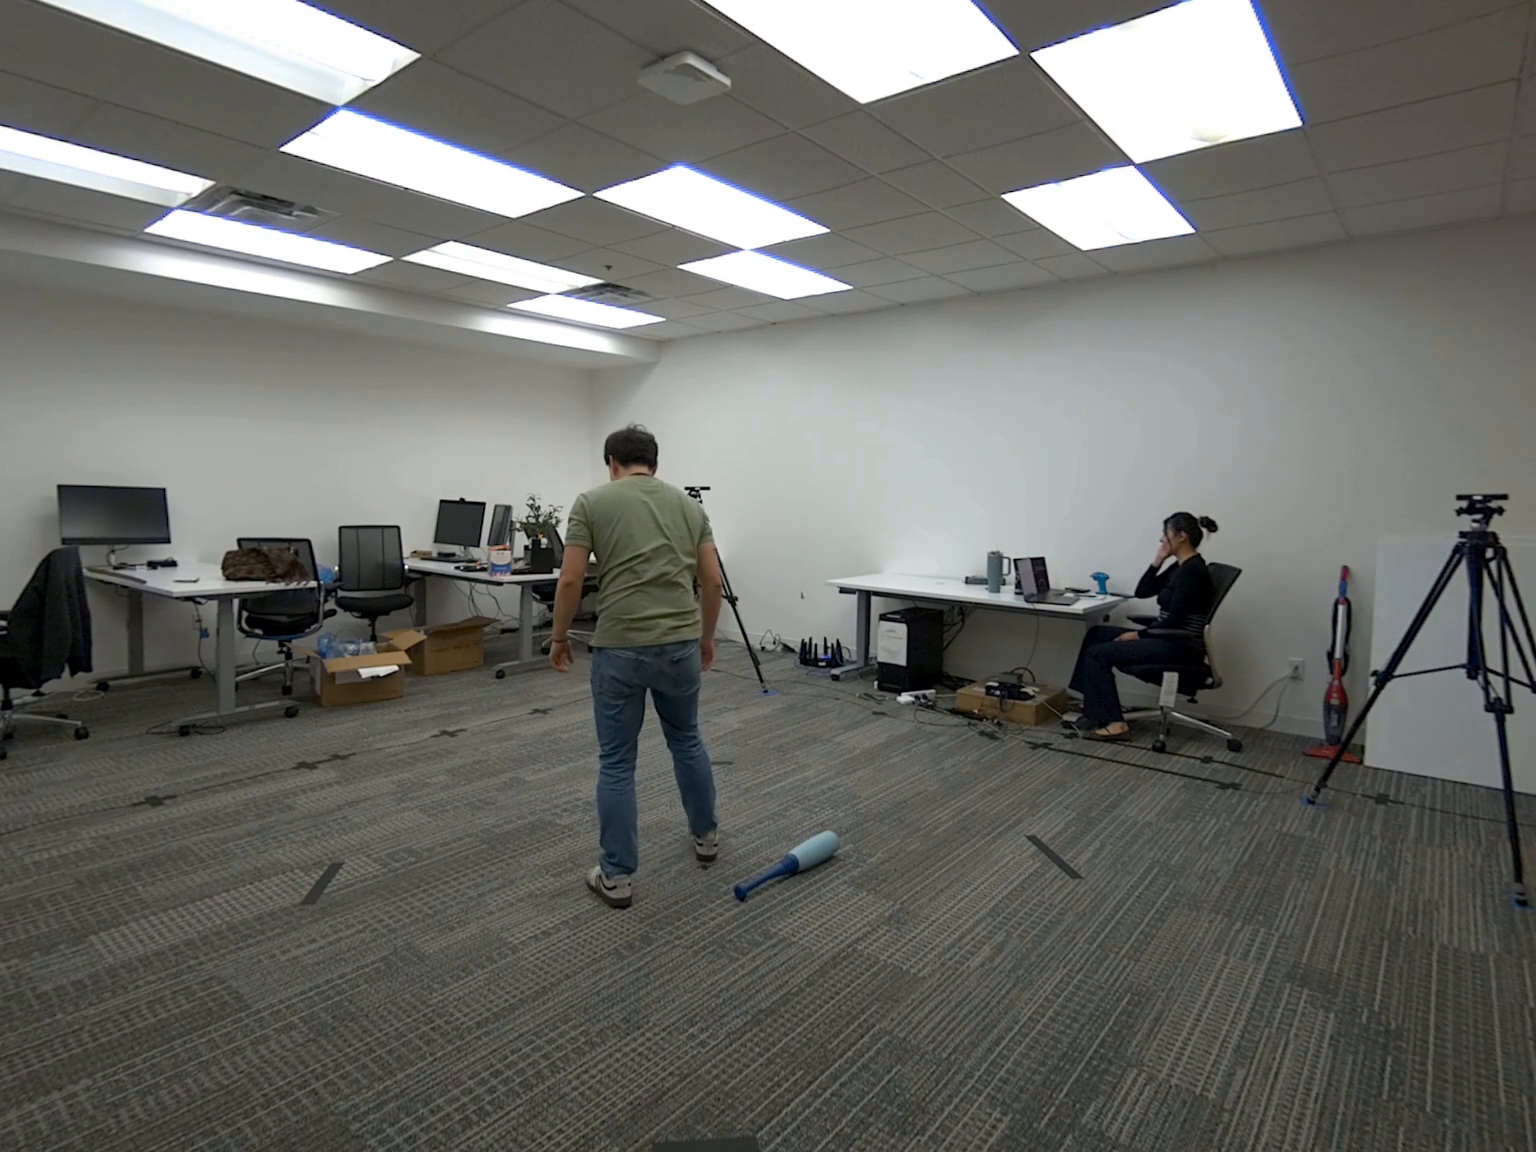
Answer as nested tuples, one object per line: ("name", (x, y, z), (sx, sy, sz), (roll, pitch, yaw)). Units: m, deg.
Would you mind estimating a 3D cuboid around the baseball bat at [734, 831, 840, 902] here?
("baseball bat", (0.068, 1.039, 3.057), (0.092, 0.088, 0.527), (5, 8, 43))
